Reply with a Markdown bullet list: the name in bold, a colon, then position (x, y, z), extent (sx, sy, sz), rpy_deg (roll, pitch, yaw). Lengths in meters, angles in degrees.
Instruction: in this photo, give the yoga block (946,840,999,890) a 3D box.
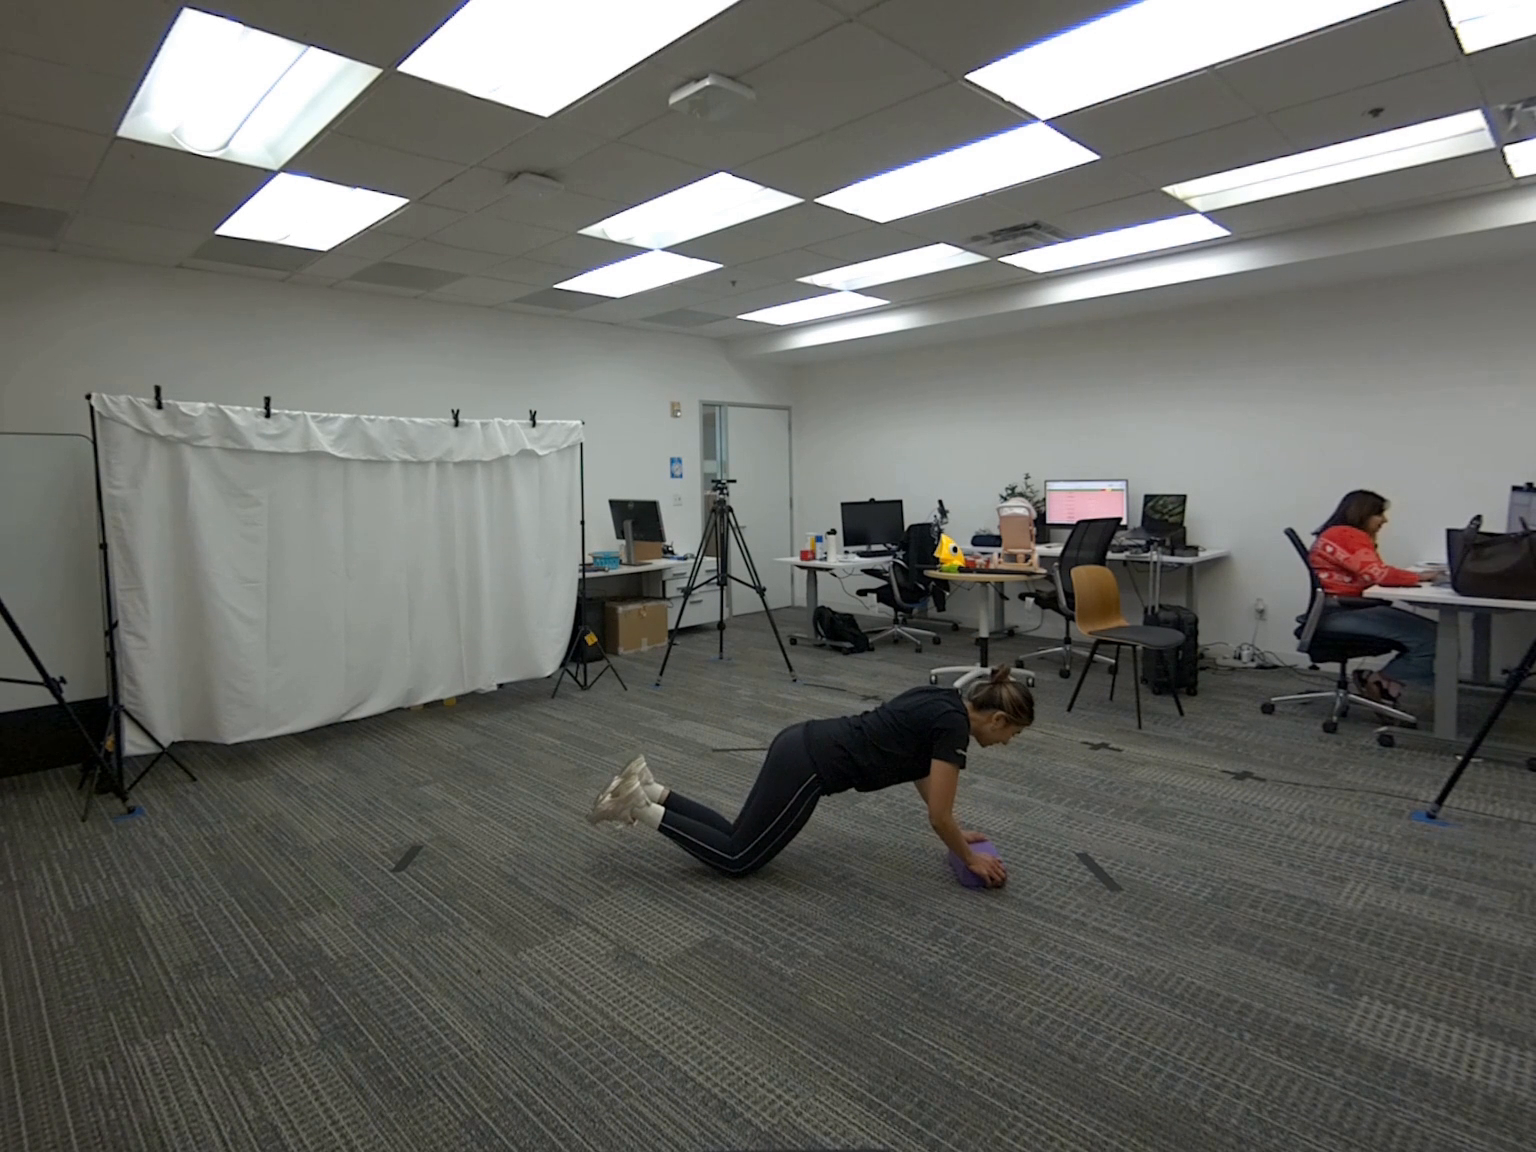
- **yoga block**: position (0.730, 1.003, 3.000), extent (0.149, 0.076, 0.230), rpy_deg (-1, 7, 0)
